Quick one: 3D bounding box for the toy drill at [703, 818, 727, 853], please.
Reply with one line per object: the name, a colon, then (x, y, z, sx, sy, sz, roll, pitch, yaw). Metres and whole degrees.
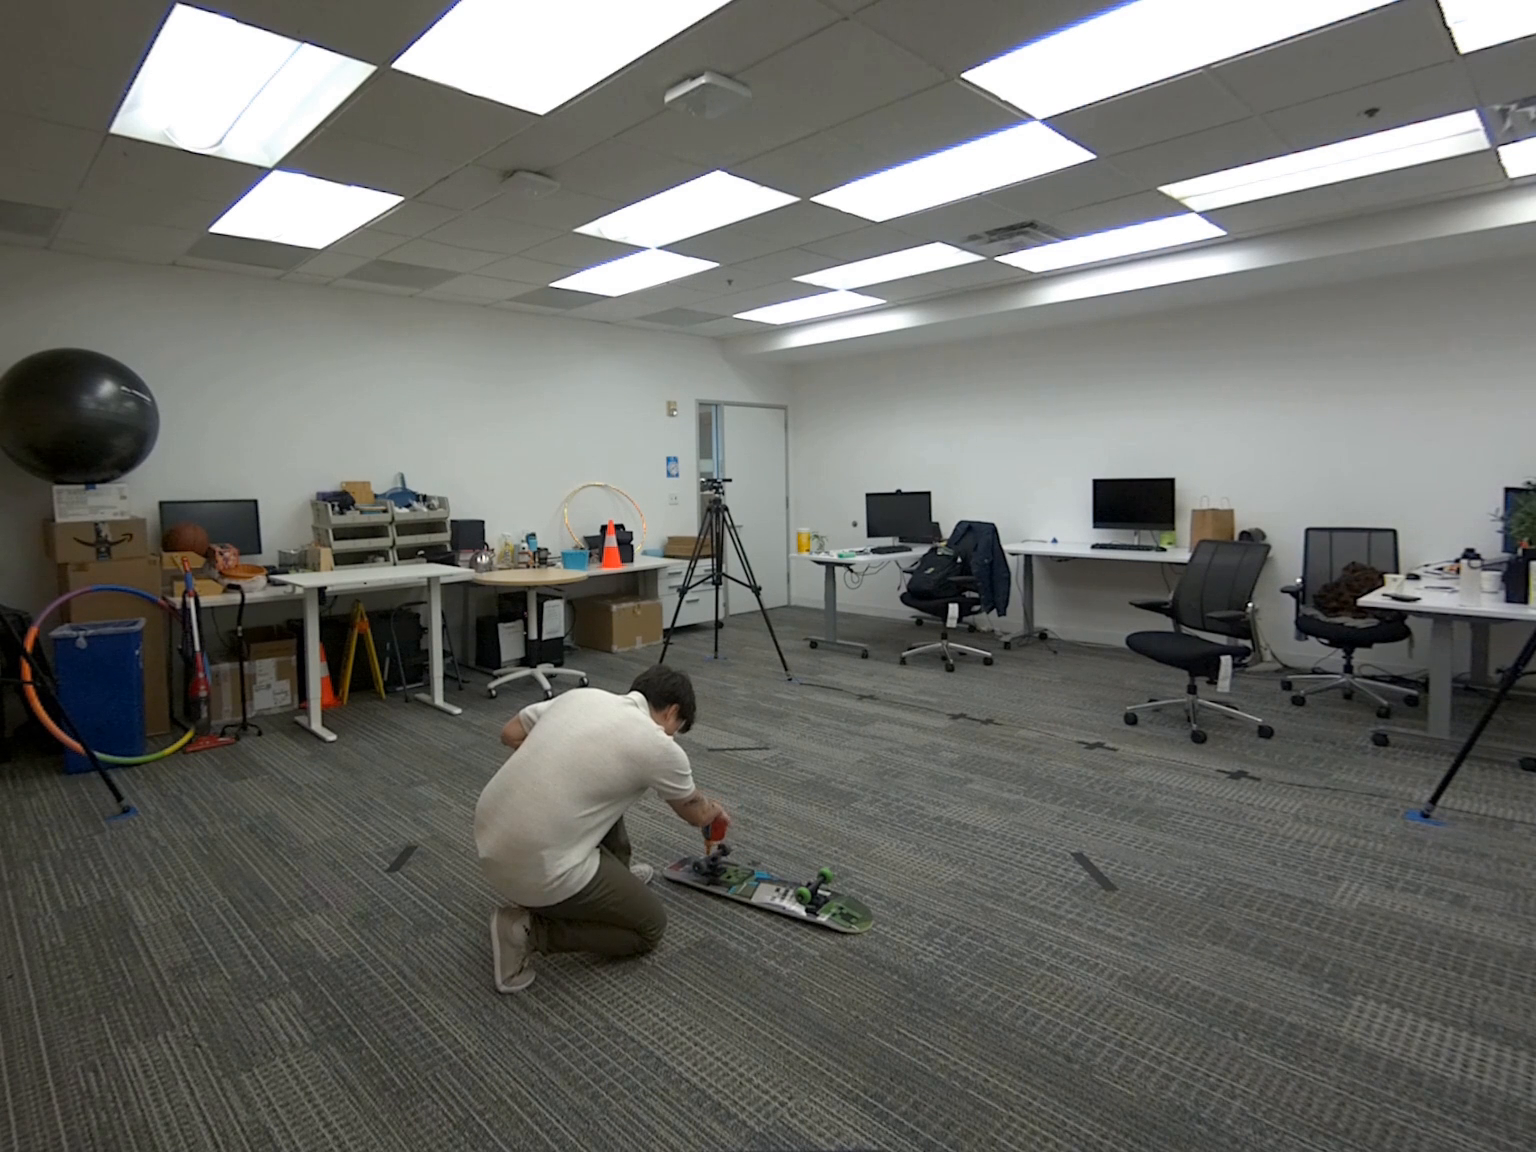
toy drill: (-0.188, 0.901, 2.967, 0.060, 0.170, 0.147, 7, -5, -11)
